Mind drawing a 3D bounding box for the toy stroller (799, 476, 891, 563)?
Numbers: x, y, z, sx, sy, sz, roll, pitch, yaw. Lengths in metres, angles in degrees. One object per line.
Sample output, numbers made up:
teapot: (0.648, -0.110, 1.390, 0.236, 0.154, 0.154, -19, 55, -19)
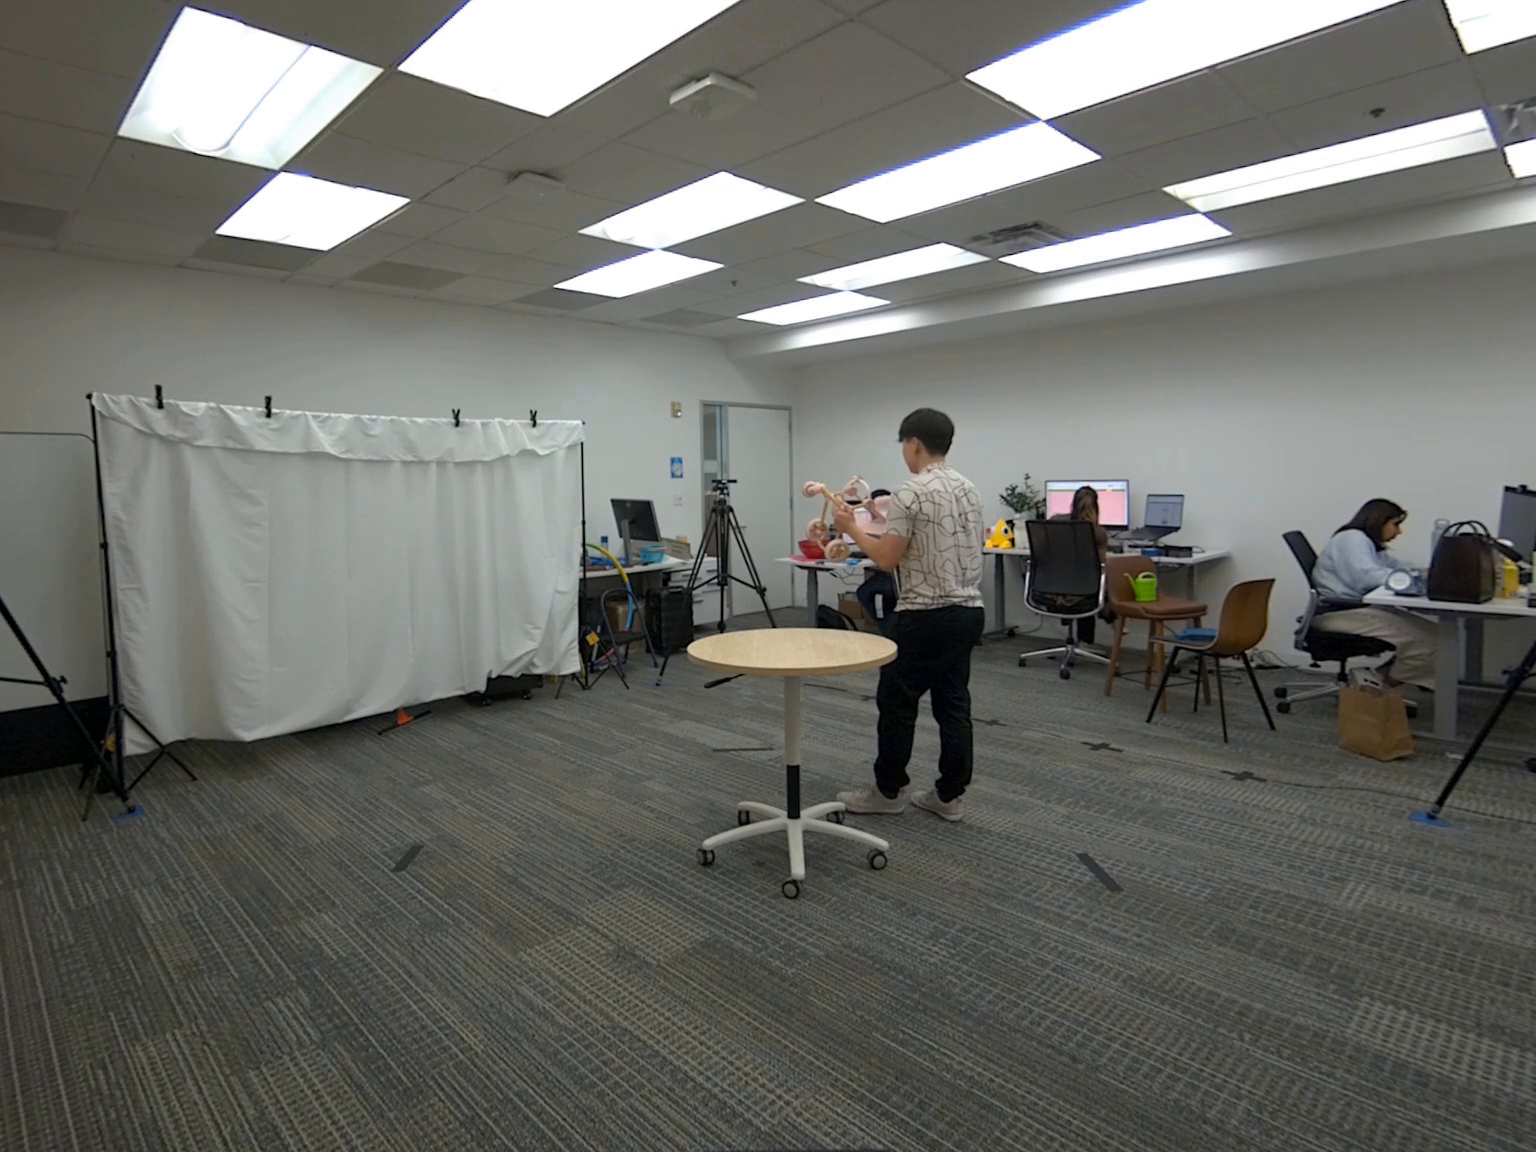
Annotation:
toy stroller: (0.398, -0.269, 3.692, 0.529, 0.336, 0.289, -7, 18, -13)
